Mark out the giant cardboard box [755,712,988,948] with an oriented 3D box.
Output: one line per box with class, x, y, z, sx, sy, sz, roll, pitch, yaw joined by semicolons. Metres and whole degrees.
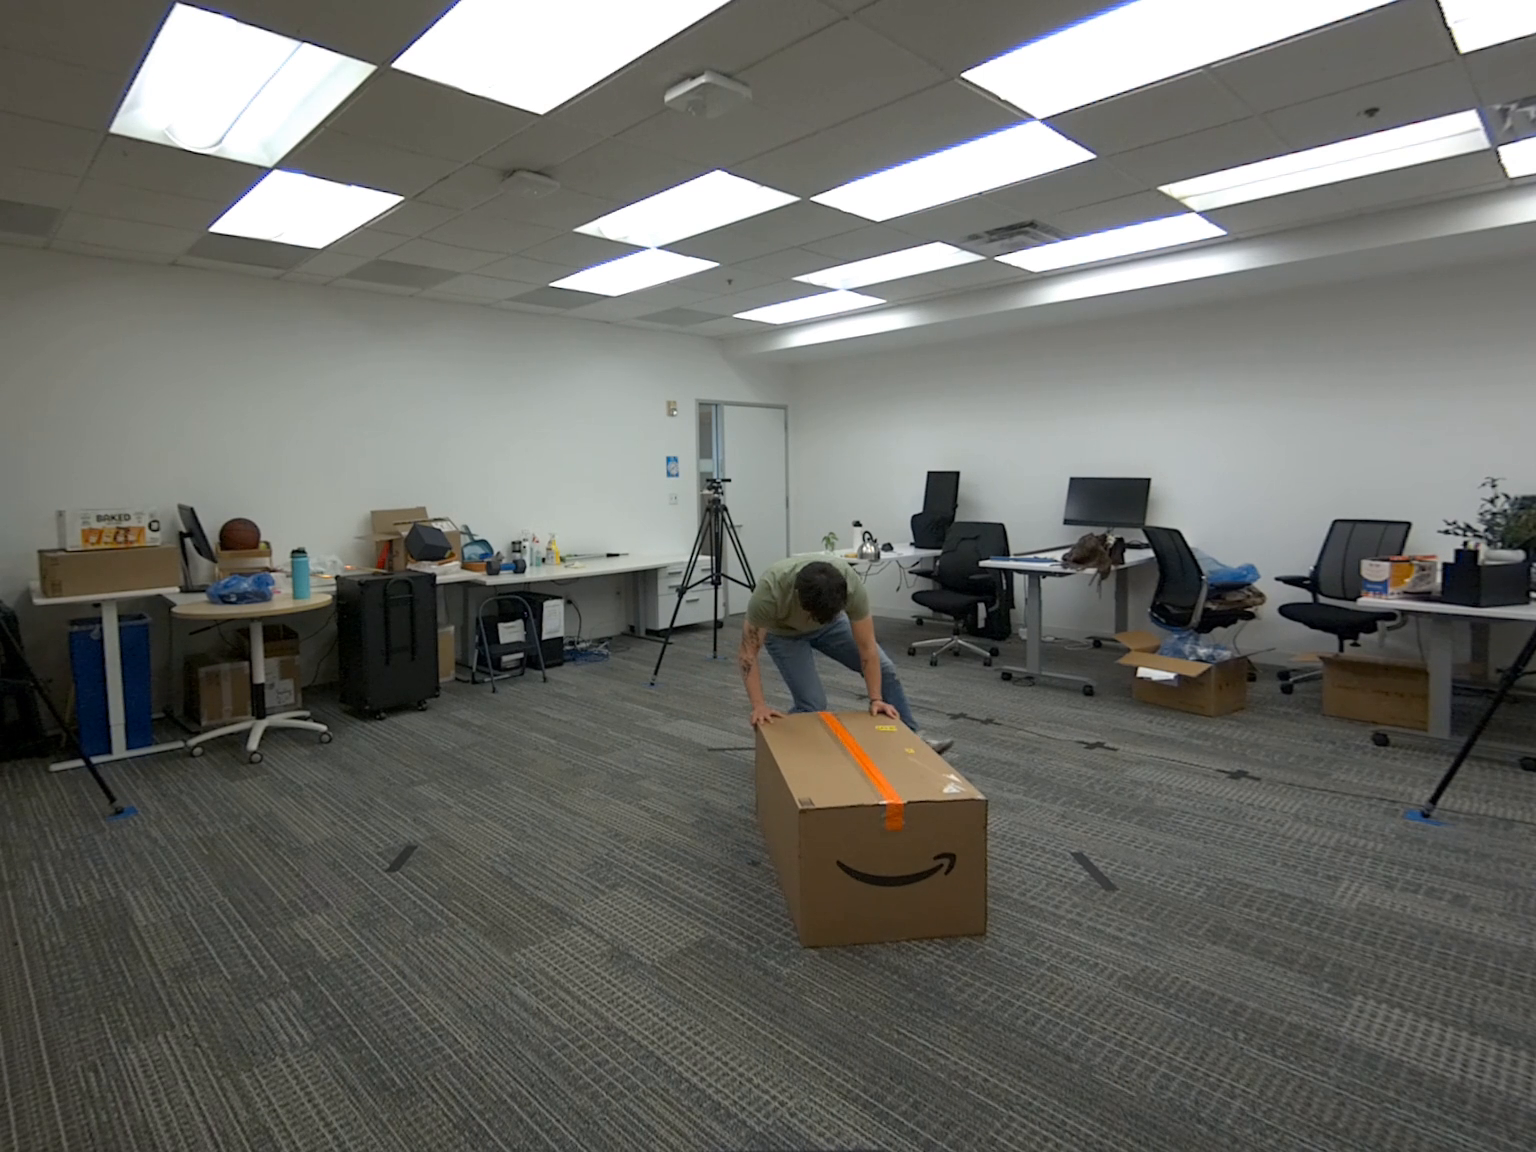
giant cardboard box;0.304;0.833;3.054;0.574;0.424;1.037;-1;6;-8
